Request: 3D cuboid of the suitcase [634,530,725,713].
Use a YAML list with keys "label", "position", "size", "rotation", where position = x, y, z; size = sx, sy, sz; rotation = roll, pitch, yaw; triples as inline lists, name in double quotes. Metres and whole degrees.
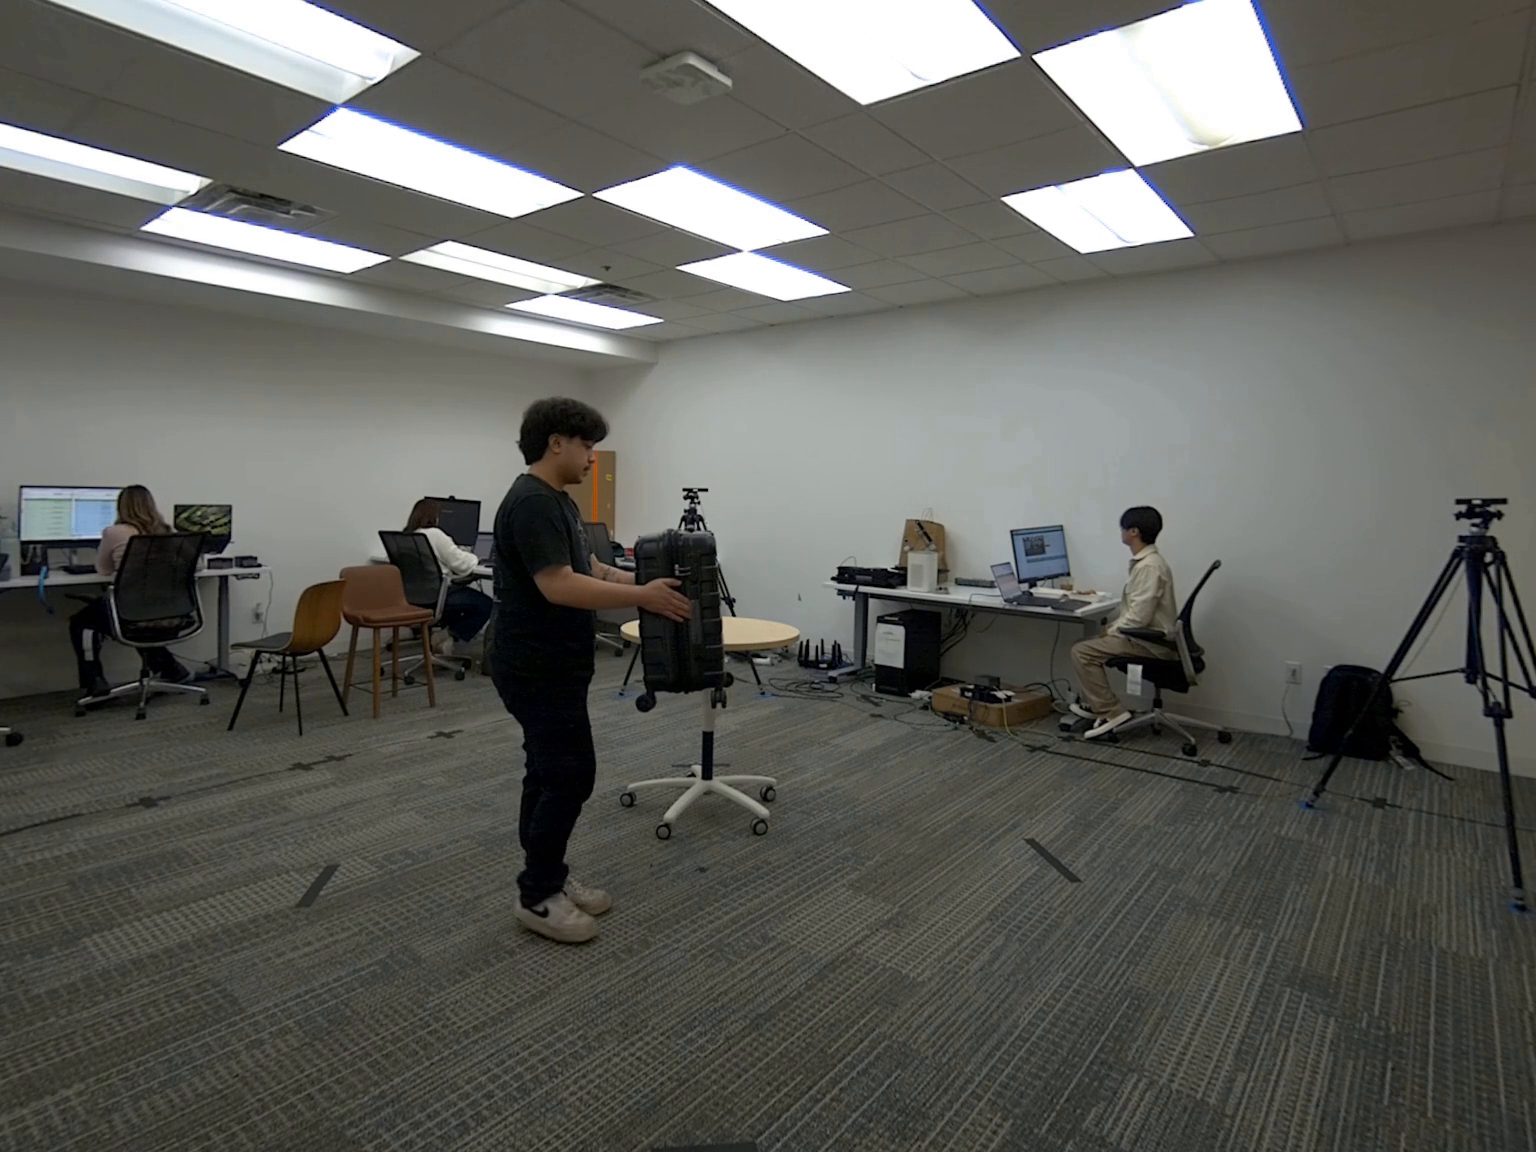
- label: "suitcase"
  position: [-0.293, 0.119, 2.725]
  size: [0.249, 0.548, 0.376]
  rotation: [-3, 4, 1]
